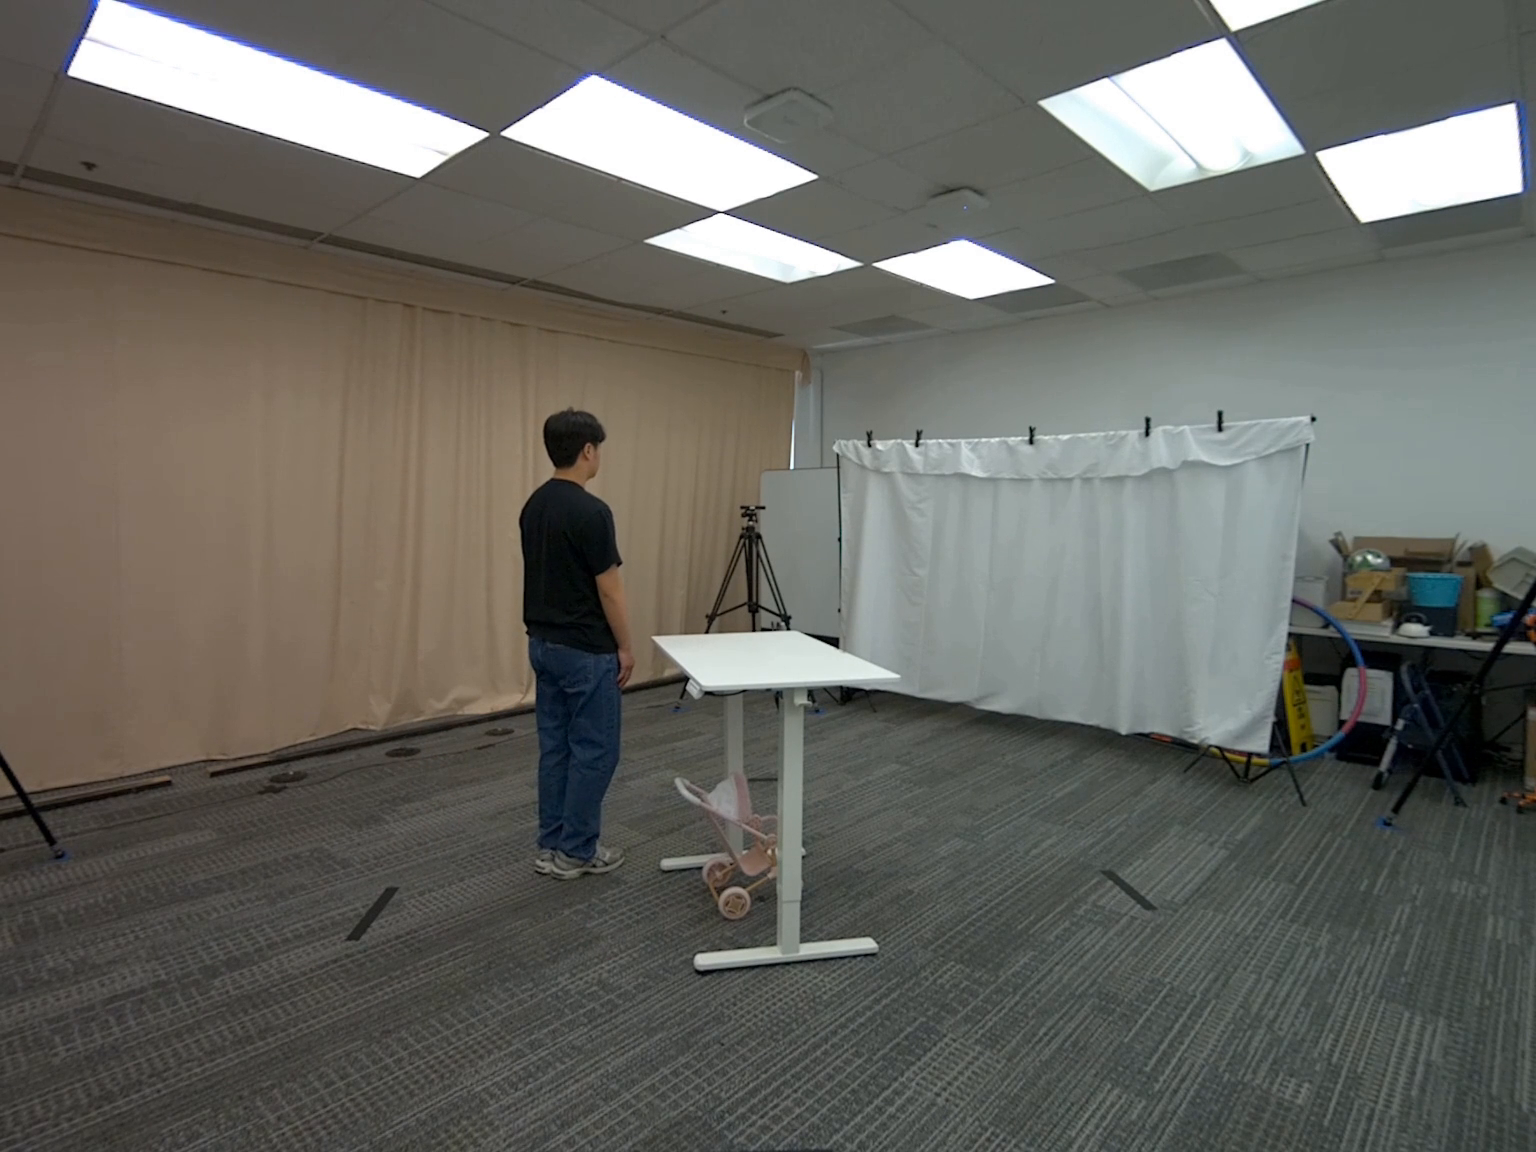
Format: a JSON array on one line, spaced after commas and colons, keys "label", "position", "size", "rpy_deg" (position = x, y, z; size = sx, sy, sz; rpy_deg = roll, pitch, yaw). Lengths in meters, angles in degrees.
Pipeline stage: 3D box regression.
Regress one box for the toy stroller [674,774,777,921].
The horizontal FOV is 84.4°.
[{"label": "toy stroller", "position": [-0.084, 0.921, 2.959], "size": [0.339, 0.532, 0.285], "rpy_deg": [-16, 6, -9]}]
